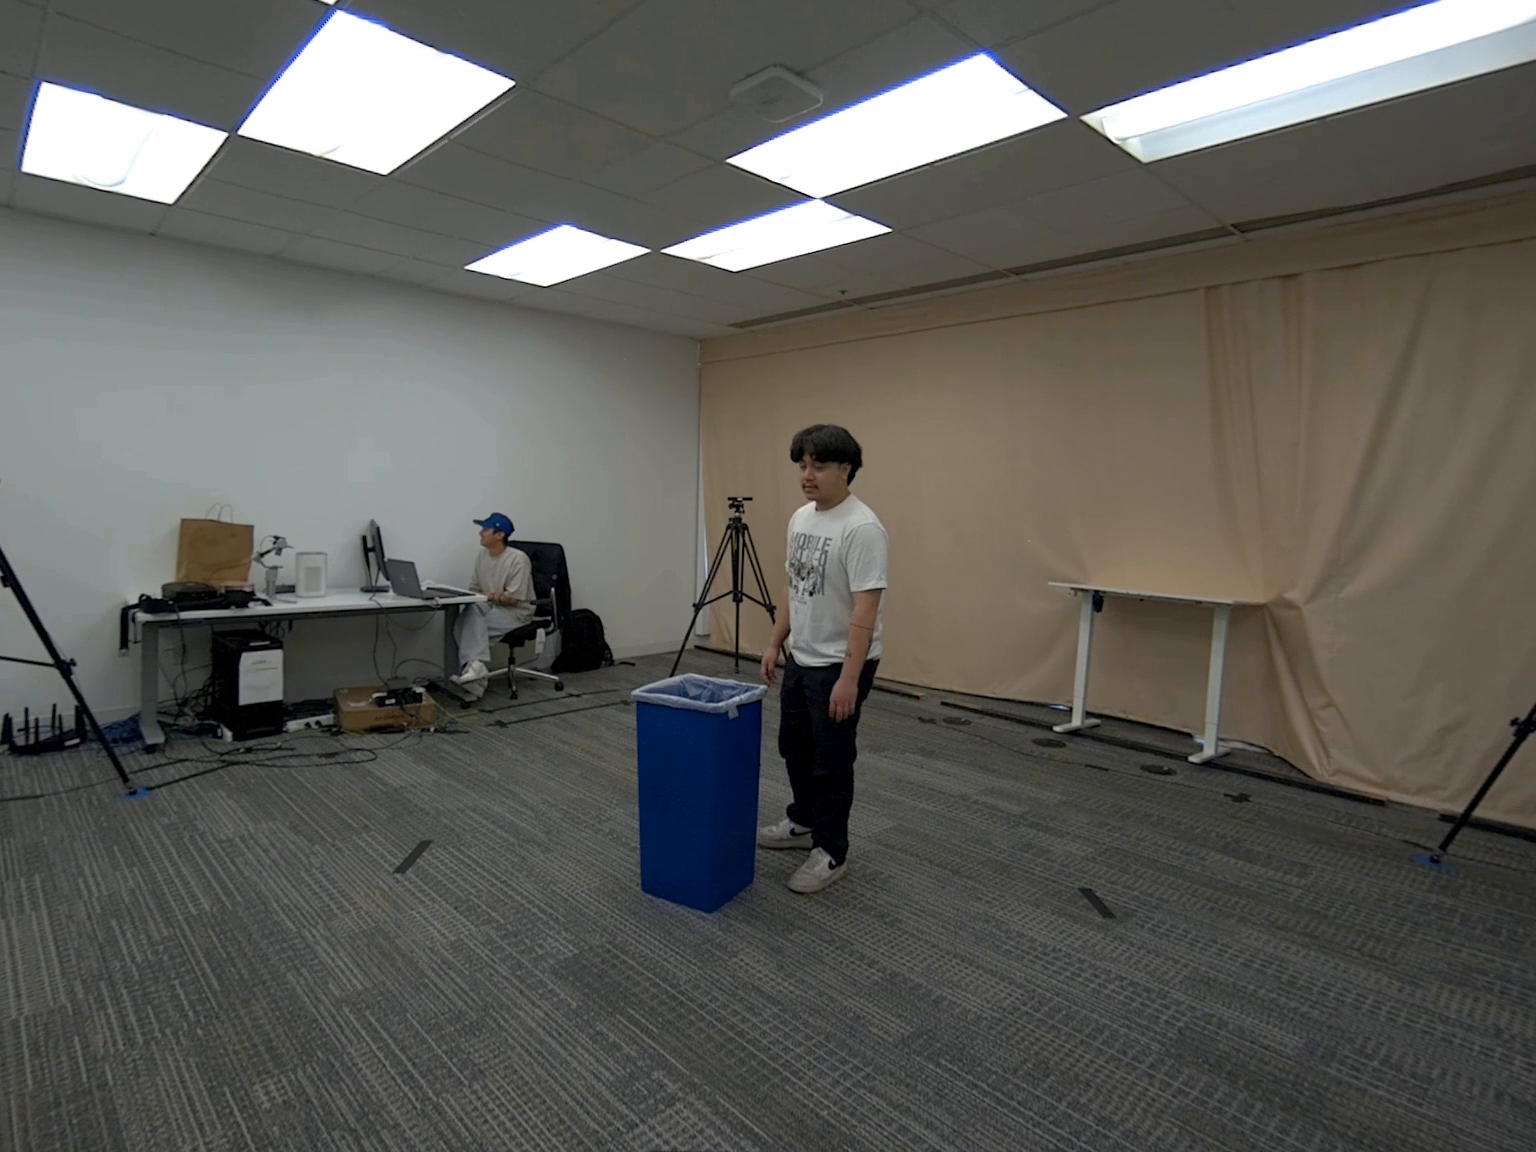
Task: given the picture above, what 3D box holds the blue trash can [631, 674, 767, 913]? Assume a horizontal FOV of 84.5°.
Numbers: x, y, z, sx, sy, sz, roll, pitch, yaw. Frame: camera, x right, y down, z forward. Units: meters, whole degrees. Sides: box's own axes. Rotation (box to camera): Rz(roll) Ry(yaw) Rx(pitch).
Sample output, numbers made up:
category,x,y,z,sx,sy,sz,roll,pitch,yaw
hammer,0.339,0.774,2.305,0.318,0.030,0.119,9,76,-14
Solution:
category,x,y,z,sx,sy,sz,roll,pitch,yaw
blue trash can,-0.258,0.756,3.002,0.382,0.712,0.371,3,4,30
